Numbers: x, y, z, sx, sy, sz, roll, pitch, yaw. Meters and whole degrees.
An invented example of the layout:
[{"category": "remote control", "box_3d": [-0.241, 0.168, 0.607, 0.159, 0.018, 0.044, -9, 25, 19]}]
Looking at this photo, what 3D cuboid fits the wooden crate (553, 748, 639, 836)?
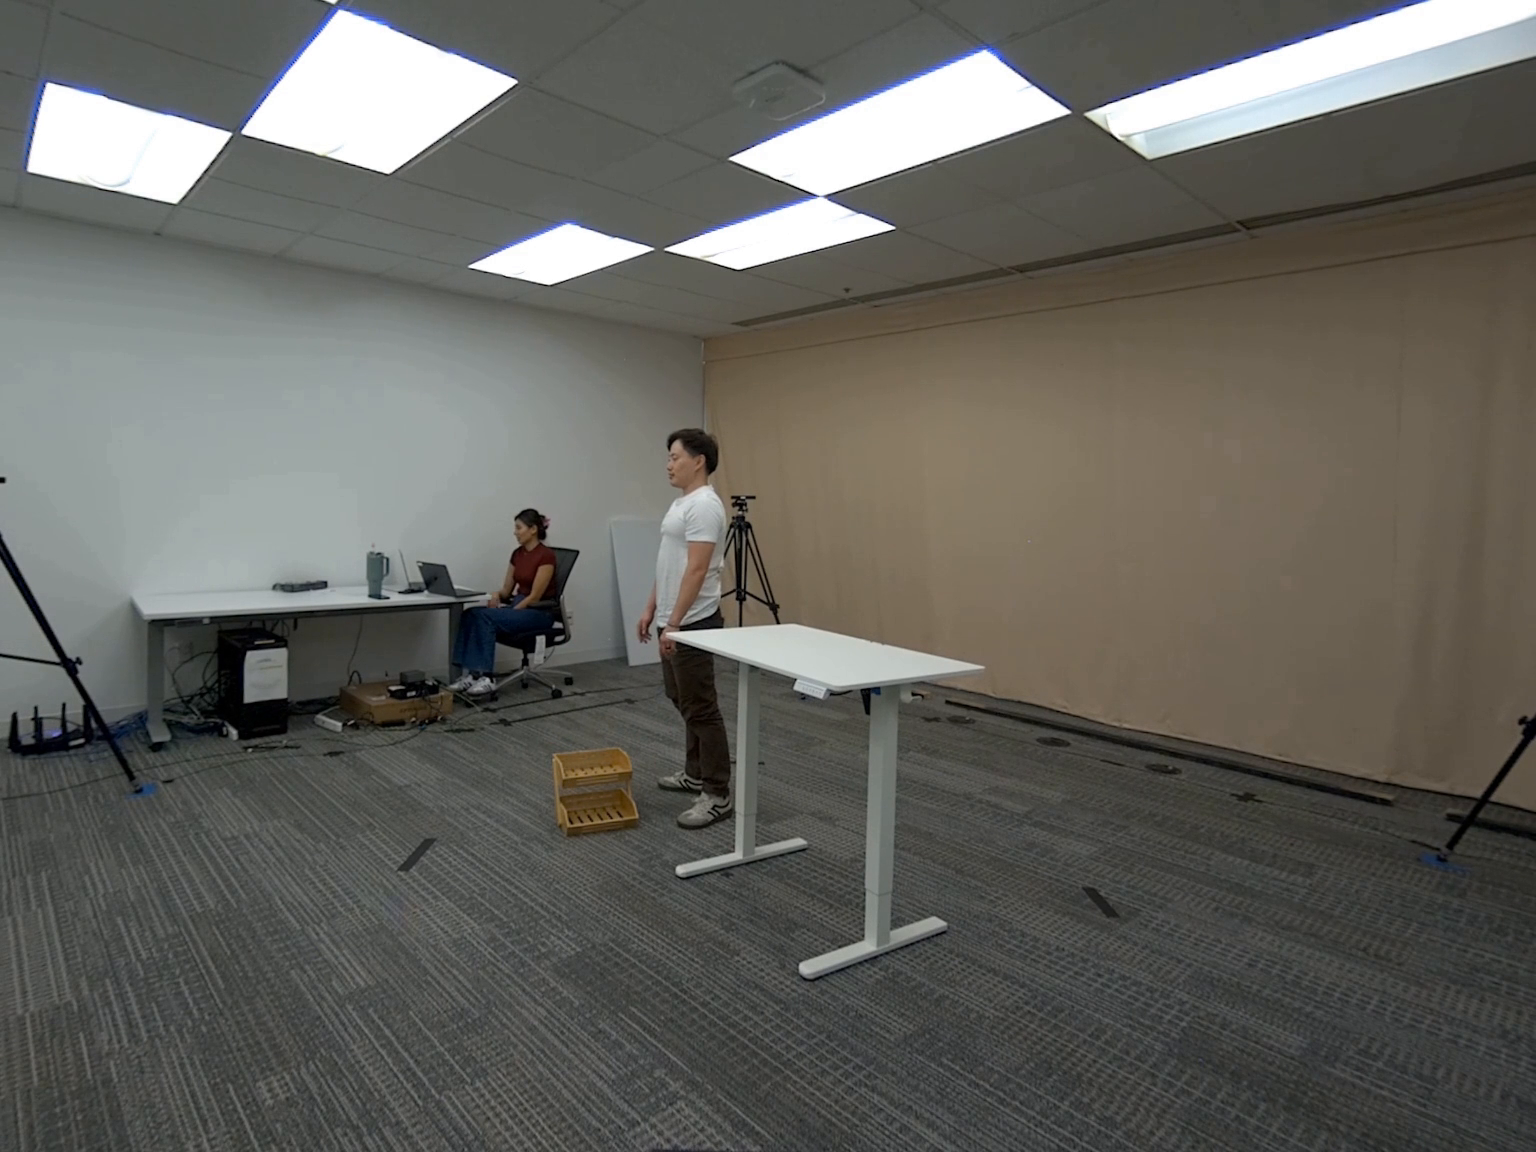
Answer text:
[{"category": "wooden crate", "box_3d": [-0.750, 0.911, 3.588, 0.318, 0.273, 0.308, 0, 4, -26]}]
